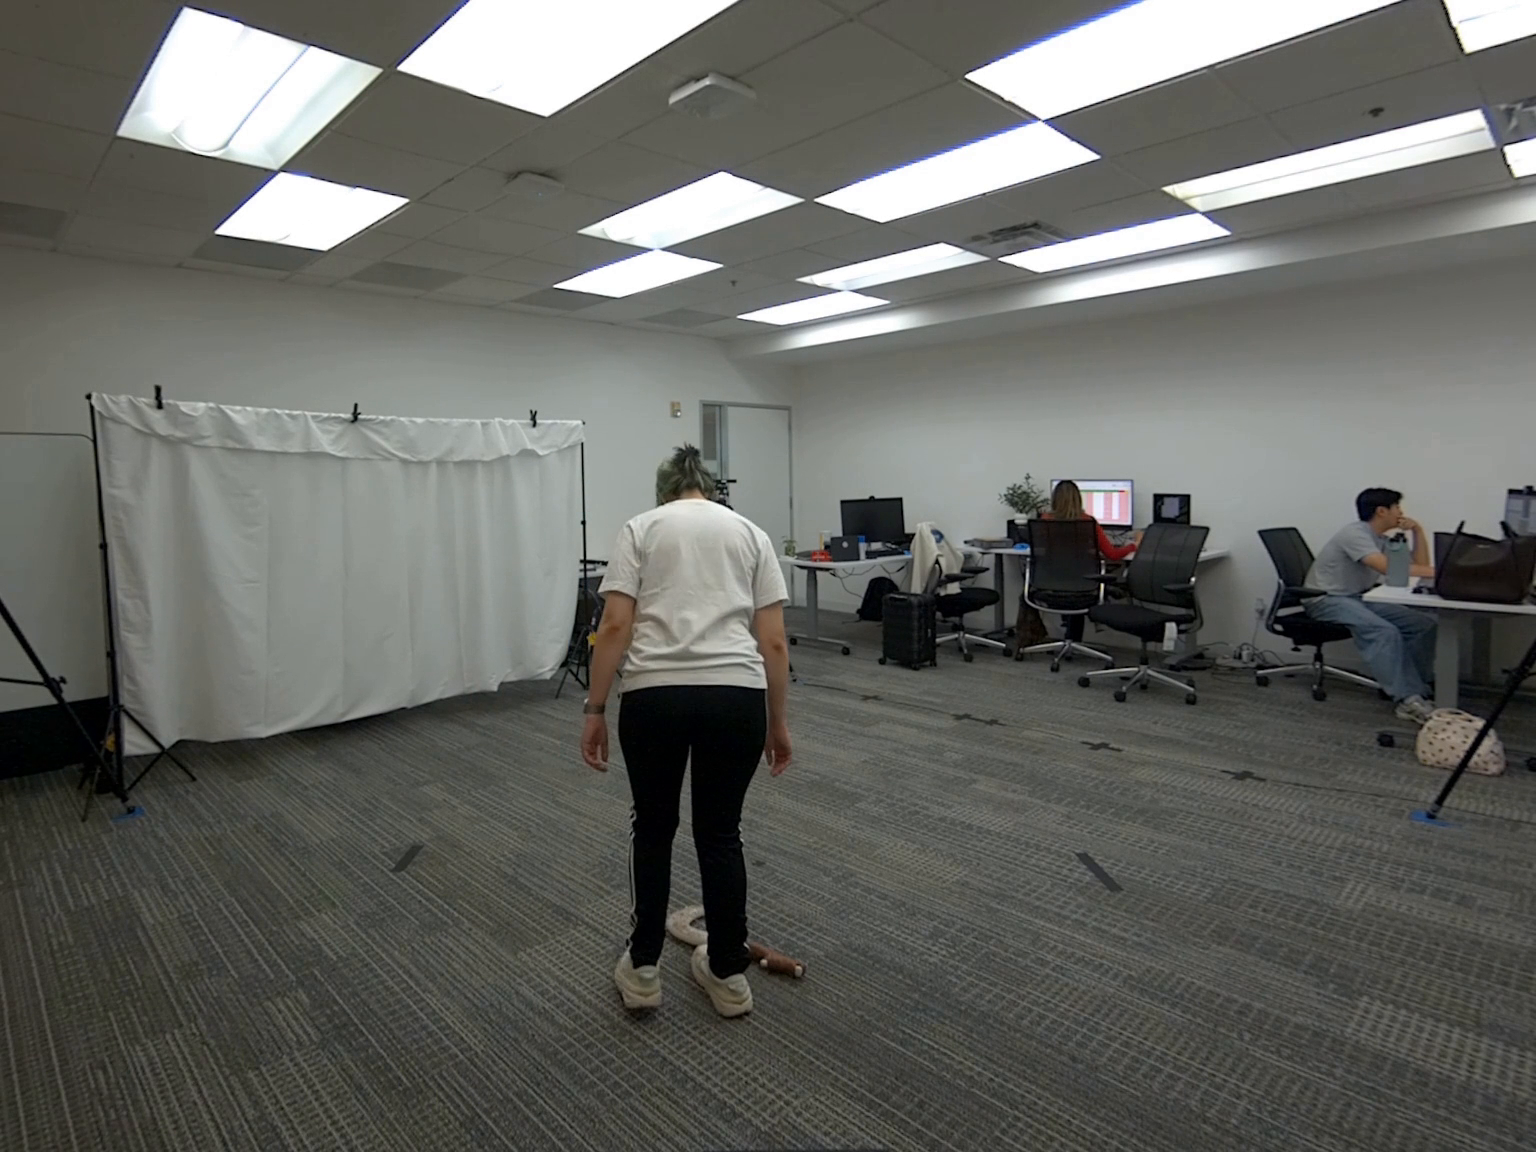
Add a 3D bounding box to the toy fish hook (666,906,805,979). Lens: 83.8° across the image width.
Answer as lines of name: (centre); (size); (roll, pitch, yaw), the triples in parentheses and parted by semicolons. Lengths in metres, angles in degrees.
toy fish hook: (-0.079, 1.090, 2.577); (0.521, 0.048, 0.220); (4, 11, 36)
